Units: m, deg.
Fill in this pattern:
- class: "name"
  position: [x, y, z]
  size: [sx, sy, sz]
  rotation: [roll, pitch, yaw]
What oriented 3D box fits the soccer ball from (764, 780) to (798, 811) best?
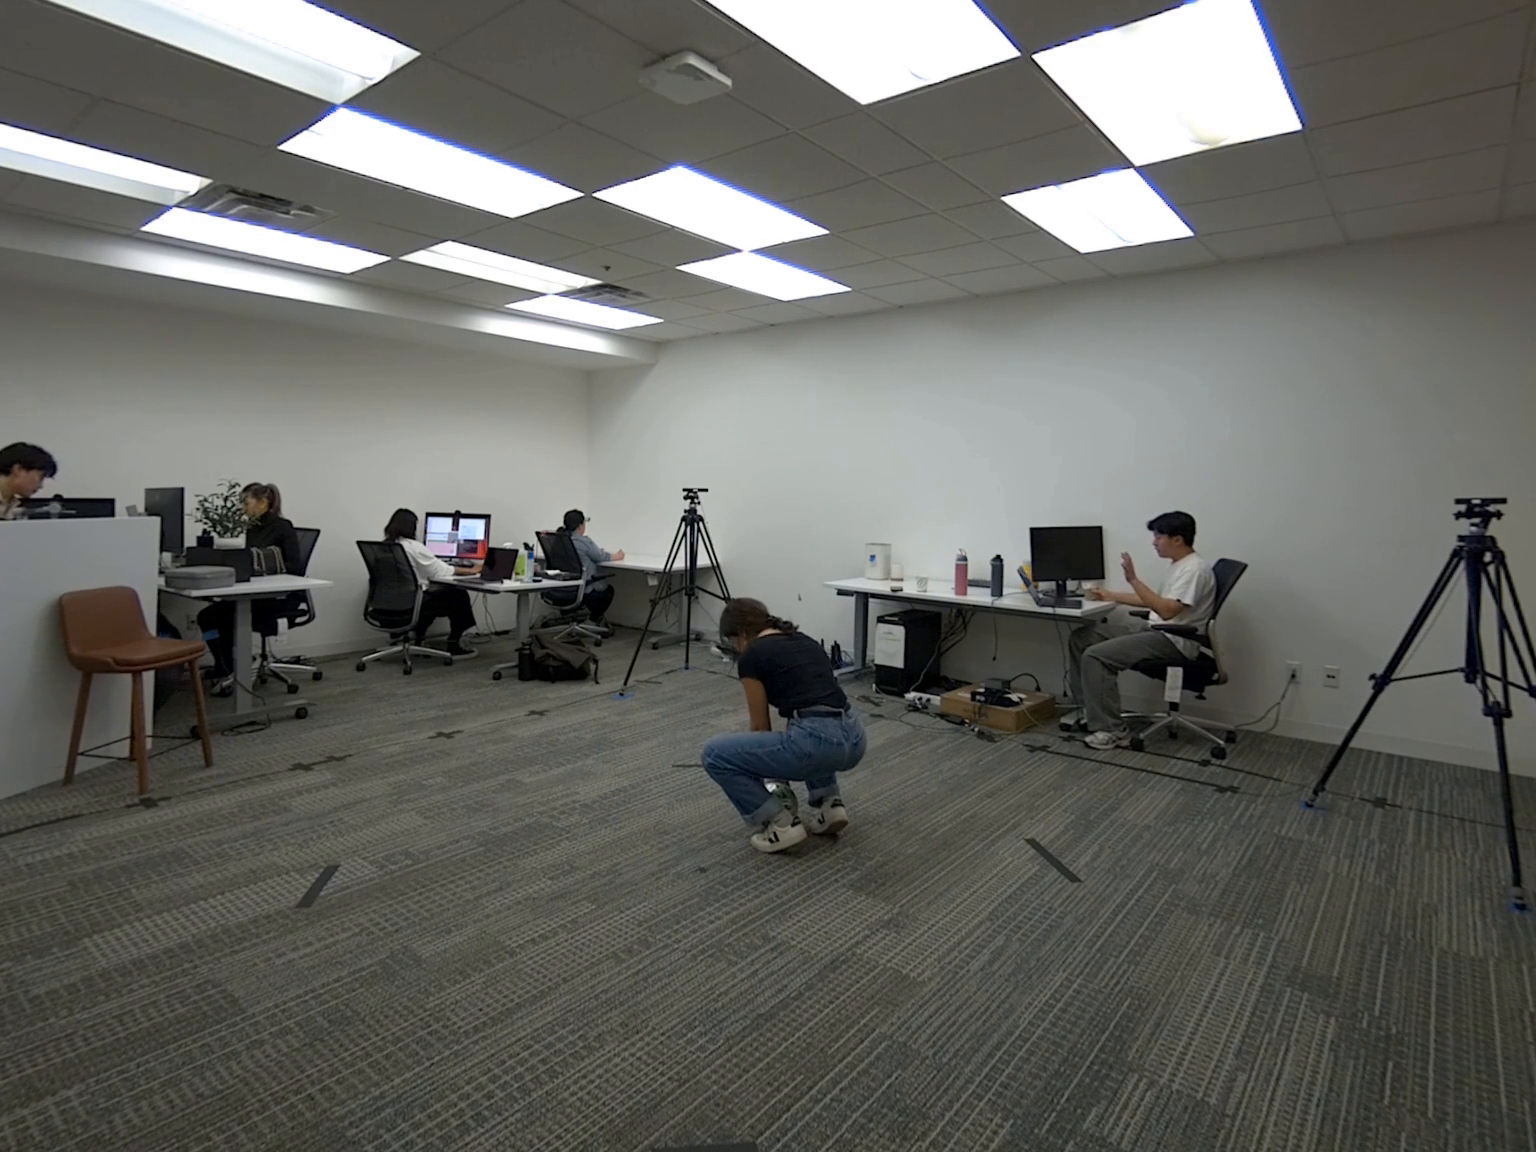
- class: "soccer ball"
  position: [0.038, 0.931, 3.508]
  size: [0.187, 0.187, 0.188]
  rotation: [1, 4, -2]
